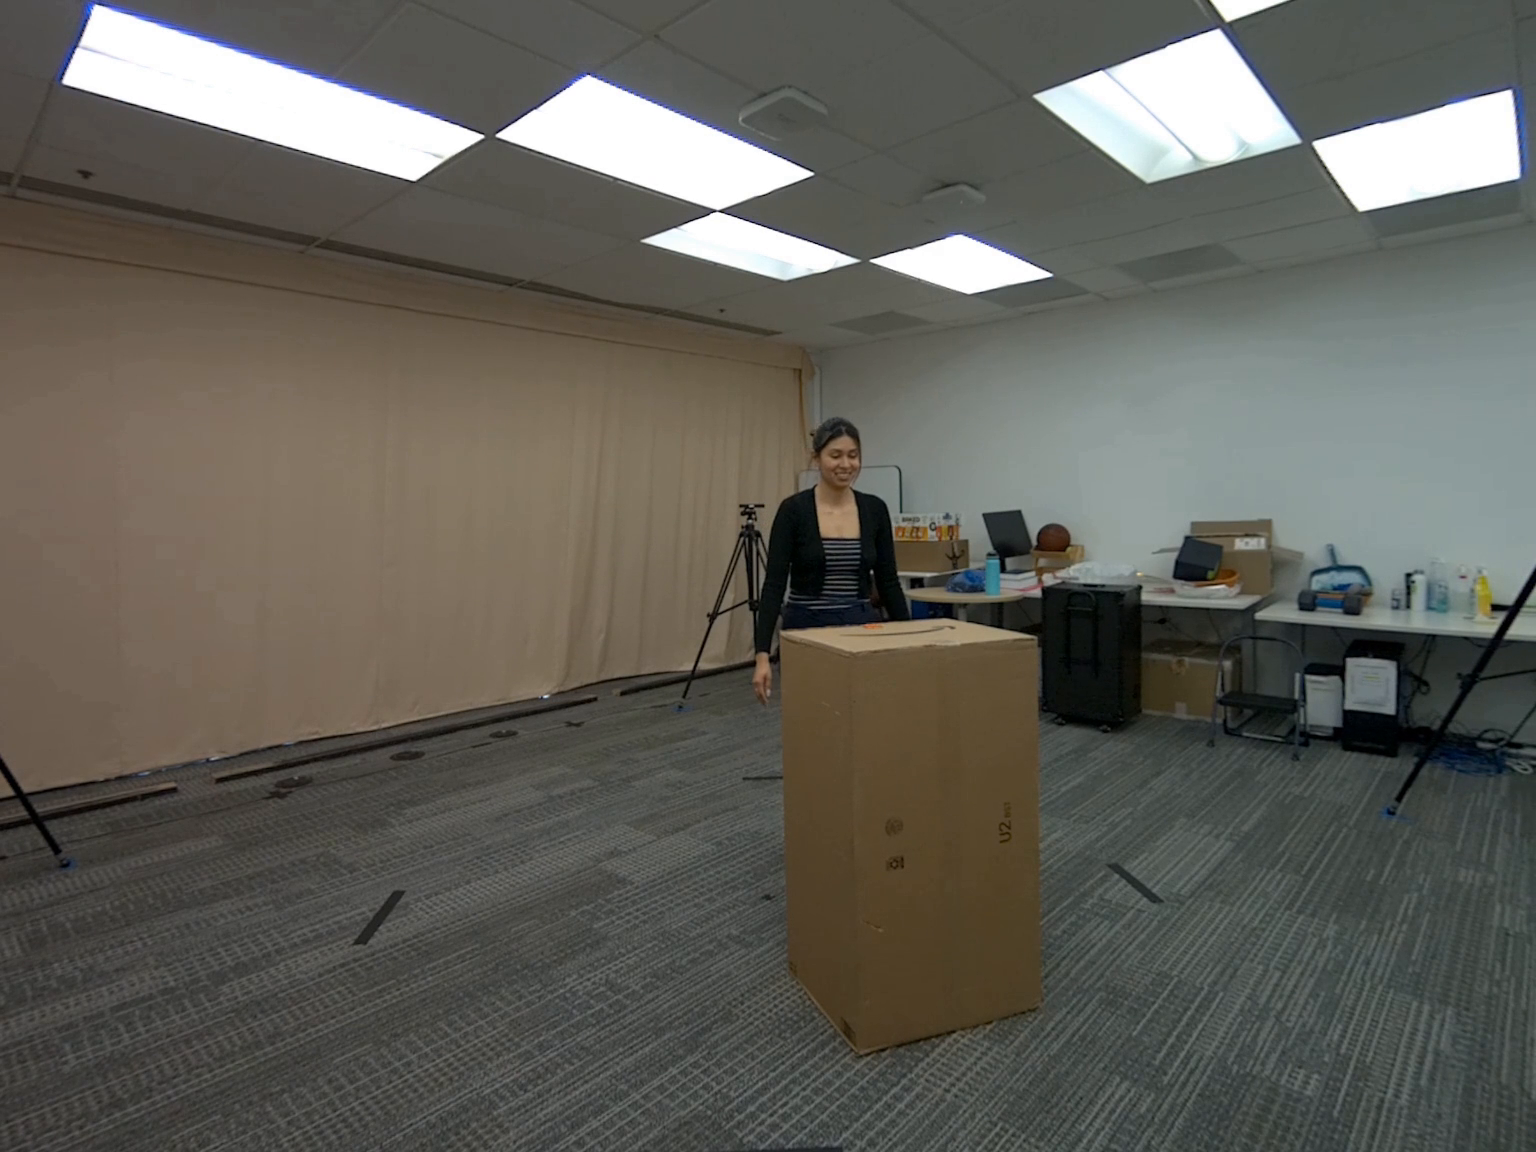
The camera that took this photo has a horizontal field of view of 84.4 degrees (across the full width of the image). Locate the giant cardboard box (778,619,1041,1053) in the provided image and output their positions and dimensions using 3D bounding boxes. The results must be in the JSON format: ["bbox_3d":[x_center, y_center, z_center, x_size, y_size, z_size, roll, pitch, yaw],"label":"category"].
[{"bbox_3d":[0.395,0.674,2.385,0.566,1.024,0.436,-2,3,-21],"label":"giant cardboard box"}]
